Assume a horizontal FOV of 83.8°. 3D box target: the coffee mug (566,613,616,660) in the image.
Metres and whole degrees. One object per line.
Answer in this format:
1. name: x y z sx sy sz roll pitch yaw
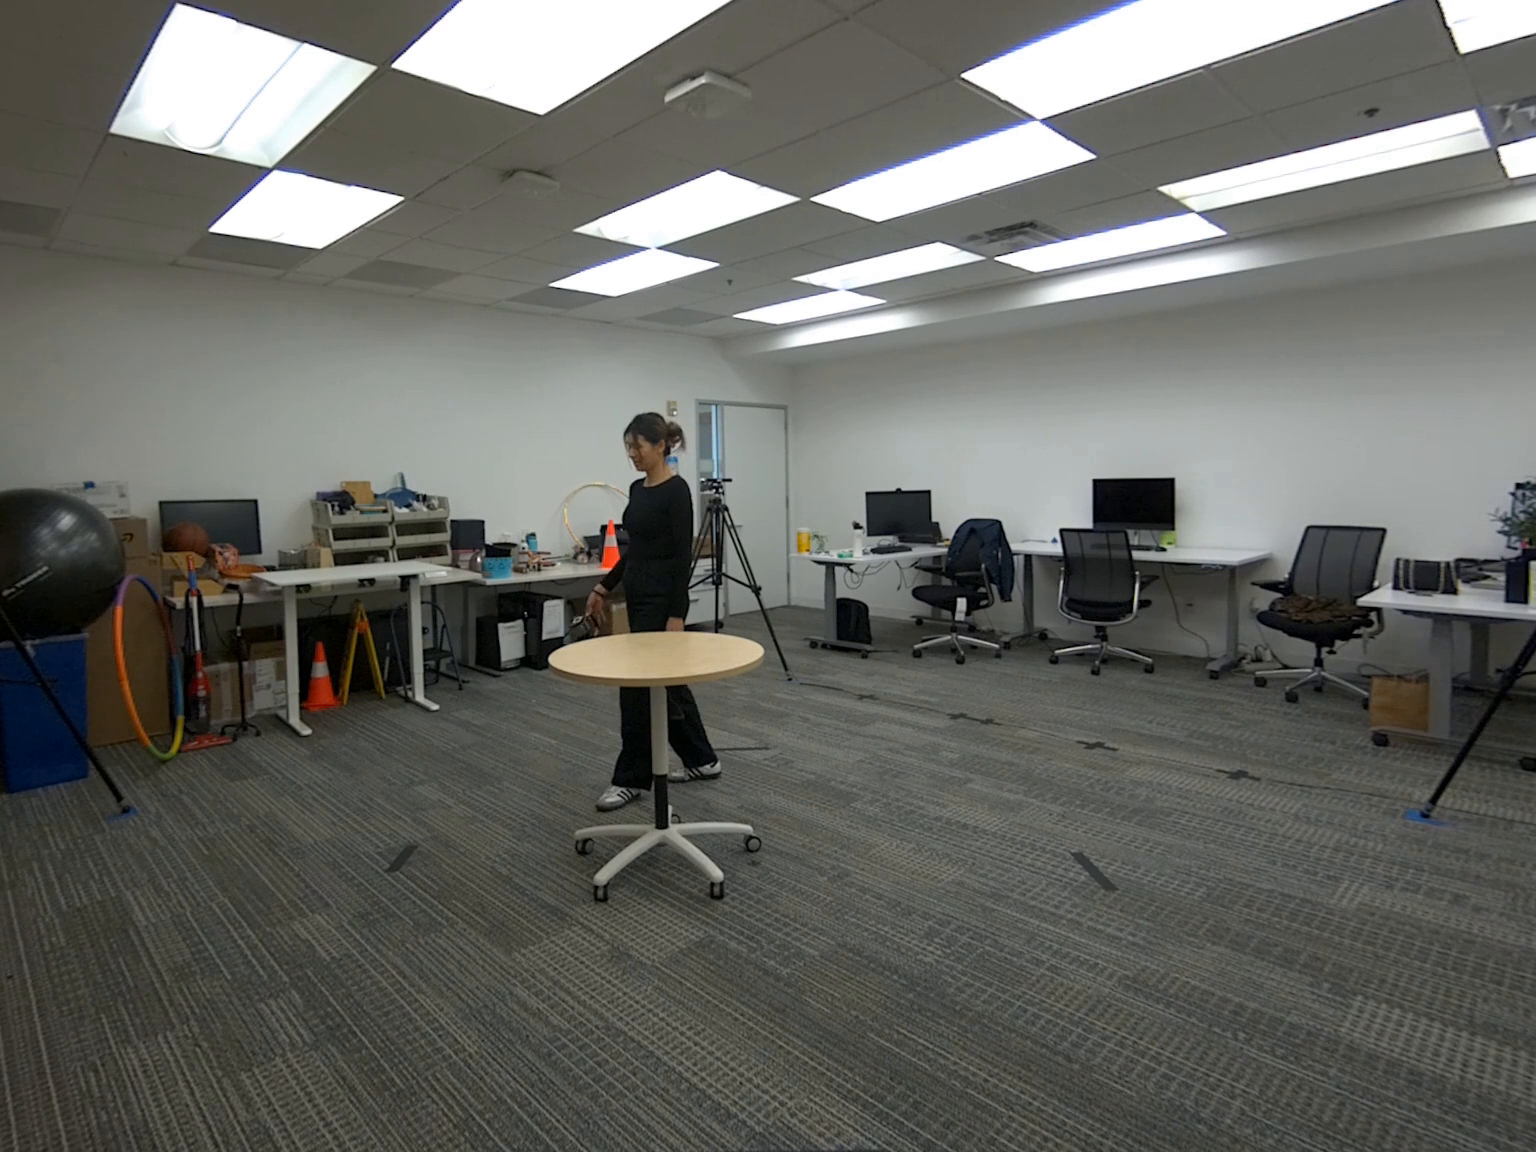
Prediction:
1. coffee mug: -0.819 0.276 3.951 0.125 0.197 0.088 -4 31 36
